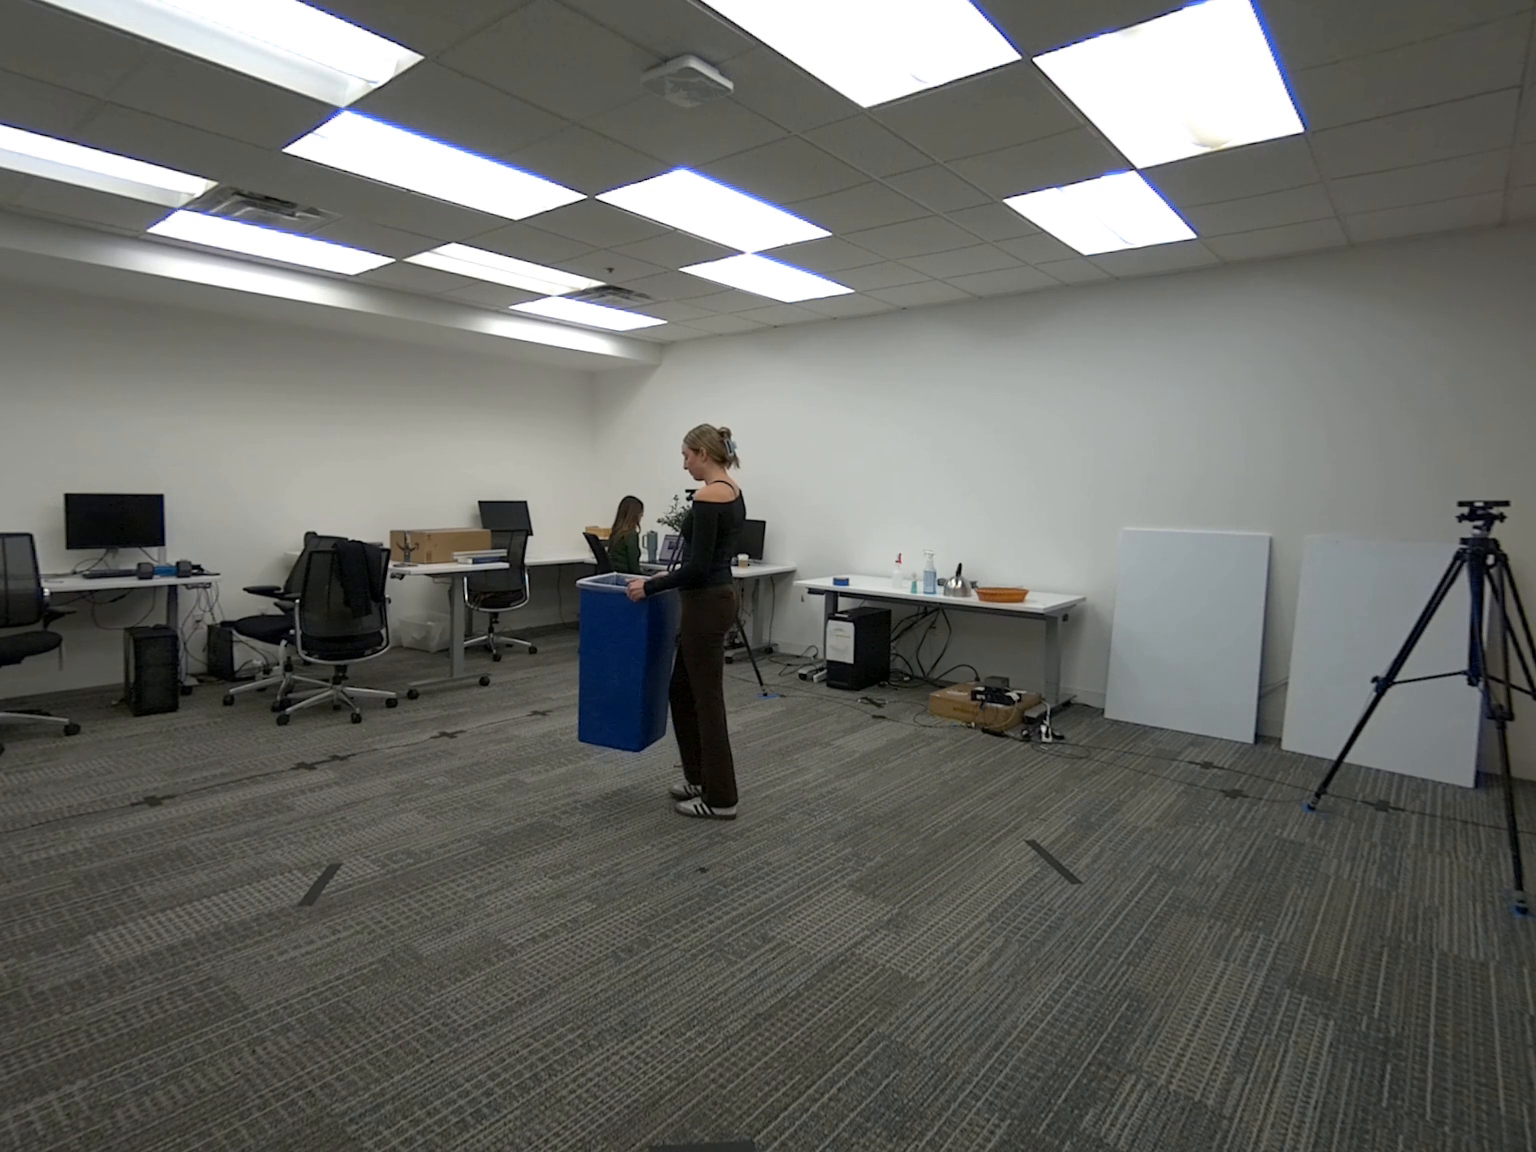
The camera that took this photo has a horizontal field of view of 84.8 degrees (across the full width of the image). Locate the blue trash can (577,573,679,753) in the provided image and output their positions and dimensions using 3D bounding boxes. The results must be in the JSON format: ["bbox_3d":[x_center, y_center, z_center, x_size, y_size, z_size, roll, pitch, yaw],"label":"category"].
[{"bbox_3d":[-0.643,0.378,3.795,0.386,0.711,0.368,4,4,18],"label":"blue trash can"}]
